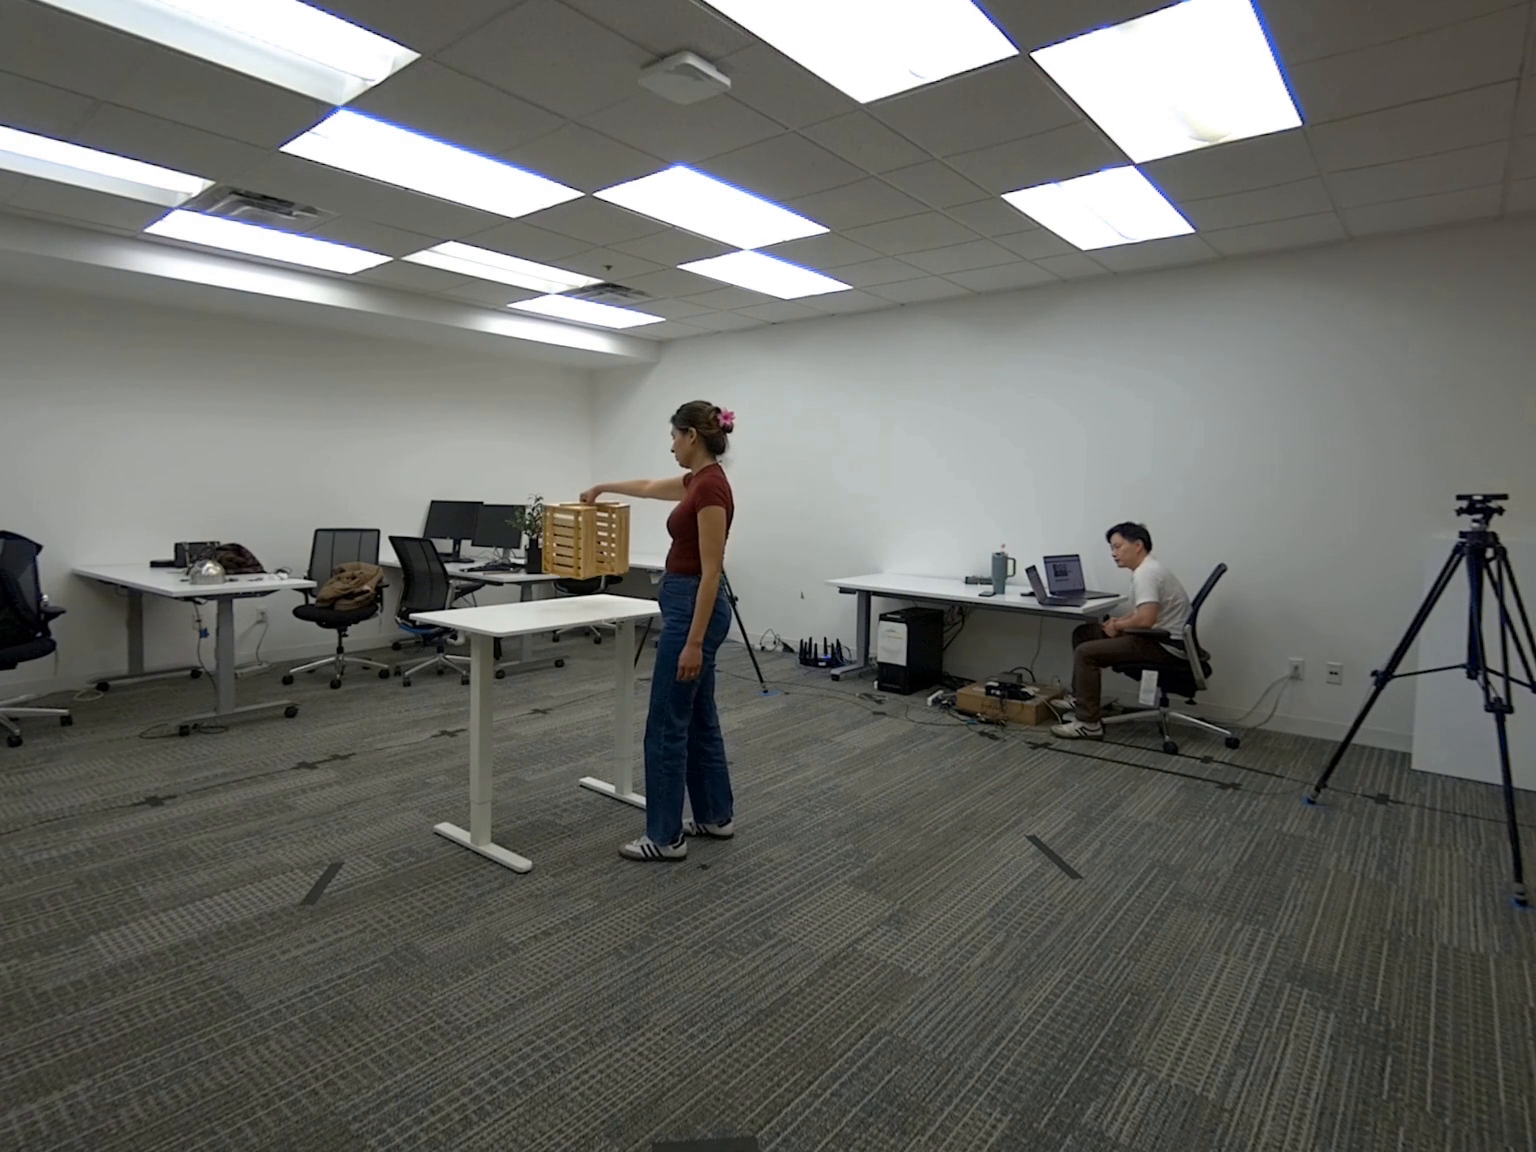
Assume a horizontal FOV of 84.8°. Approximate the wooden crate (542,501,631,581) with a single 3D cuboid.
[{"bbox_3d":[-0.820,-0.168,3.751,0.311,0.321,0.267,9,12,30],"label":"wooden crate"}]
